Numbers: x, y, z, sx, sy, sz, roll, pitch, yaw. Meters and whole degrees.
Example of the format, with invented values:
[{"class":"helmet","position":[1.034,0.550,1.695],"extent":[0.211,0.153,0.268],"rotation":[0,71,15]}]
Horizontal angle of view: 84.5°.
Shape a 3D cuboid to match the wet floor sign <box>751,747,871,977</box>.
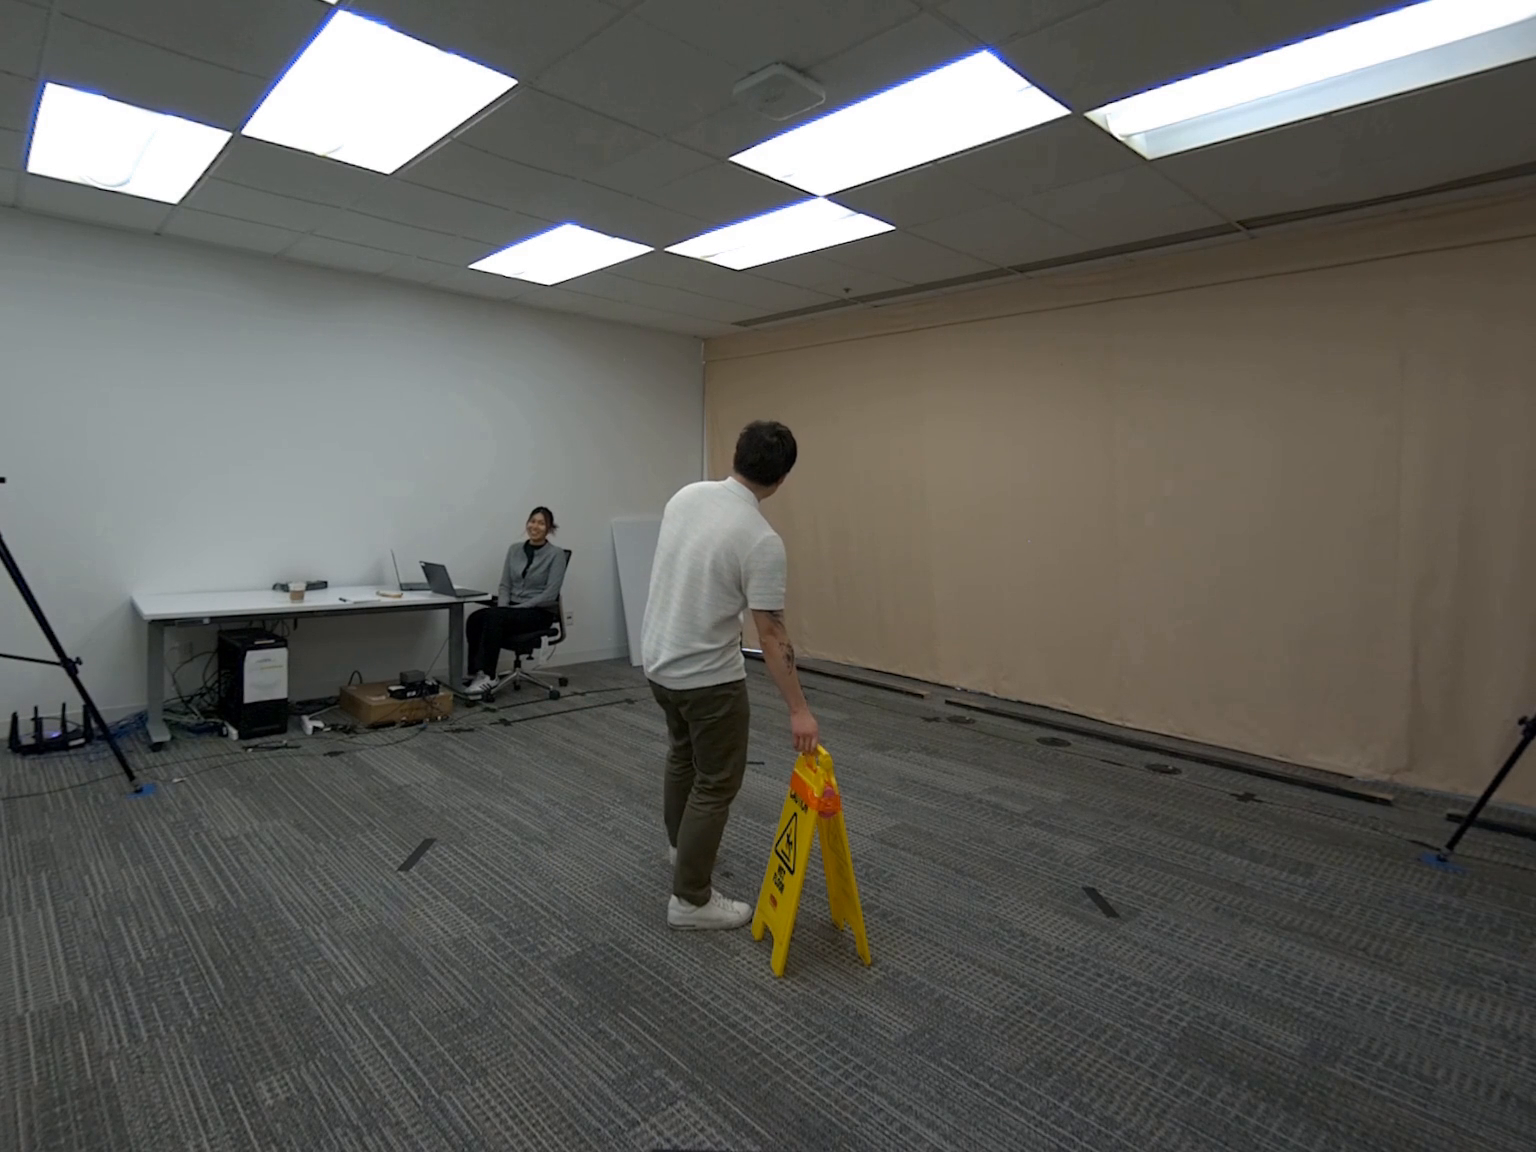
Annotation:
[{"class":"wet floor sign","position":[0.137,0.834,2.589],"extent":[0.286,0.644,0.287],"rotation":[1,4,-18]}]
